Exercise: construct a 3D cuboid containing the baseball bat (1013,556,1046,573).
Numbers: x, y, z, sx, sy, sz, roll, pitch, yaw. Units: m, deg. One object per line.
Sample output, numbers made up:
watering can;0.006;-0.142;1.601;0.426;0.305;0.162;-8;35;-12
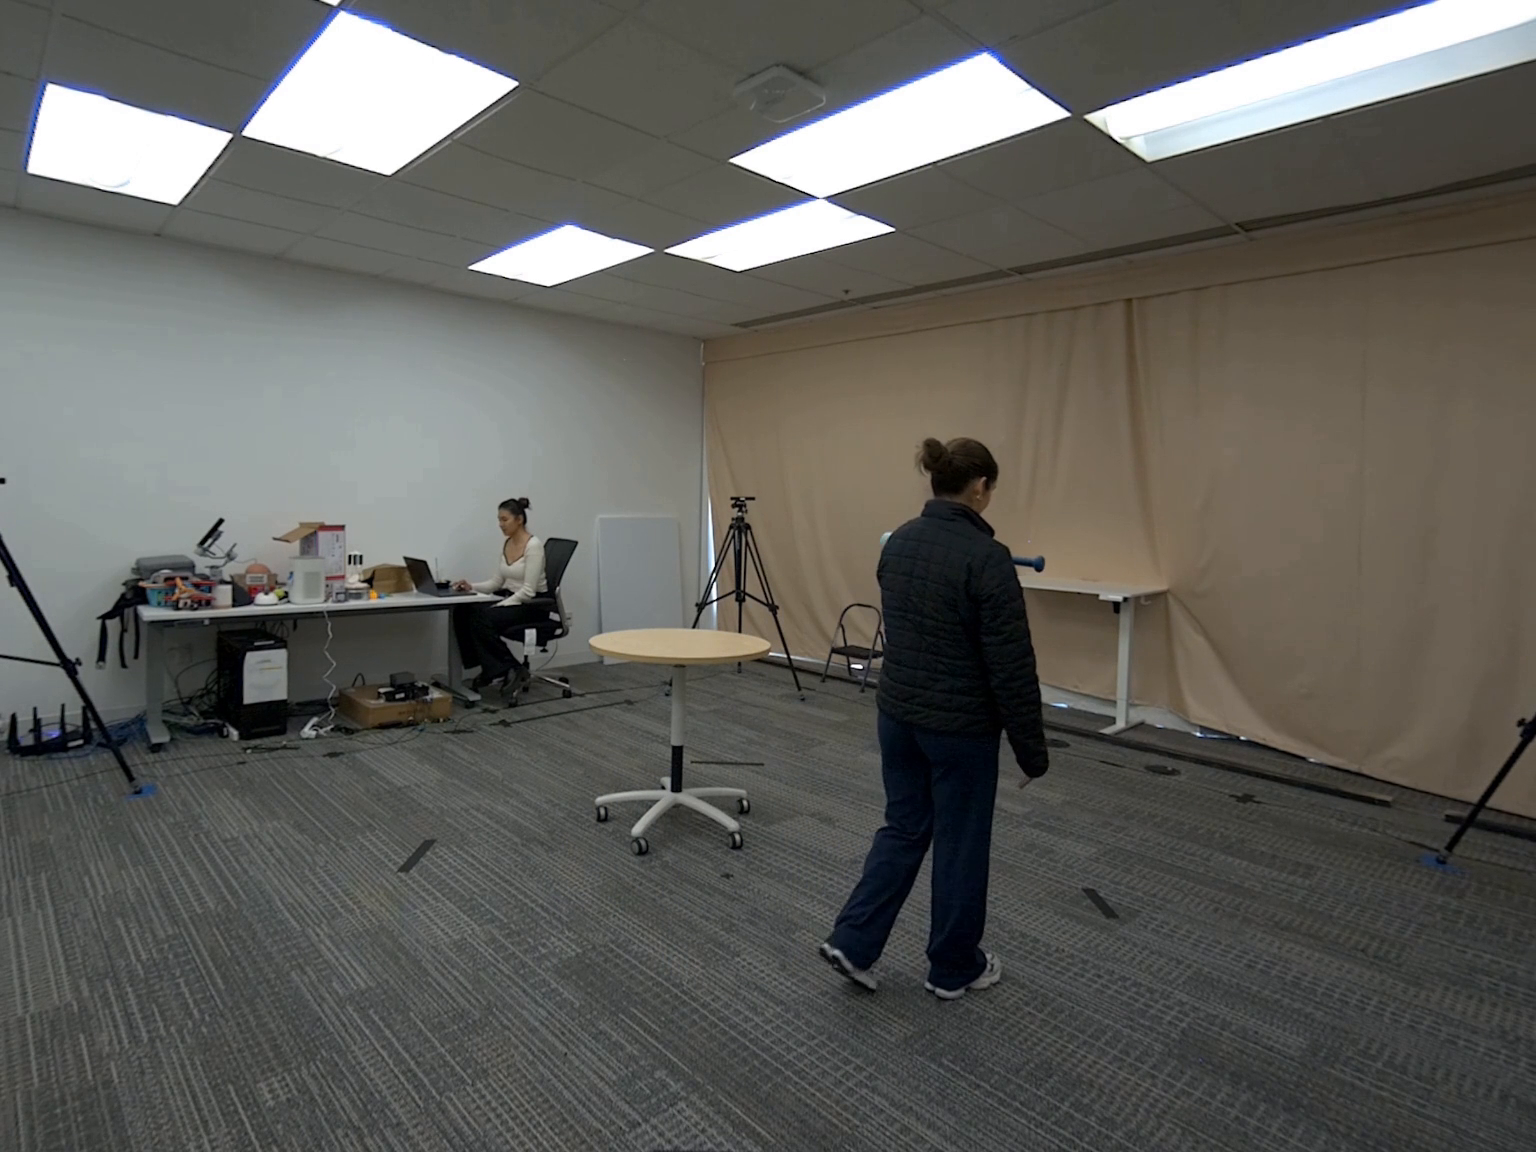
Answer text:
baseball bat;0.619;-0.060;2.708;0.557;0.089;0.087;10;8;37
